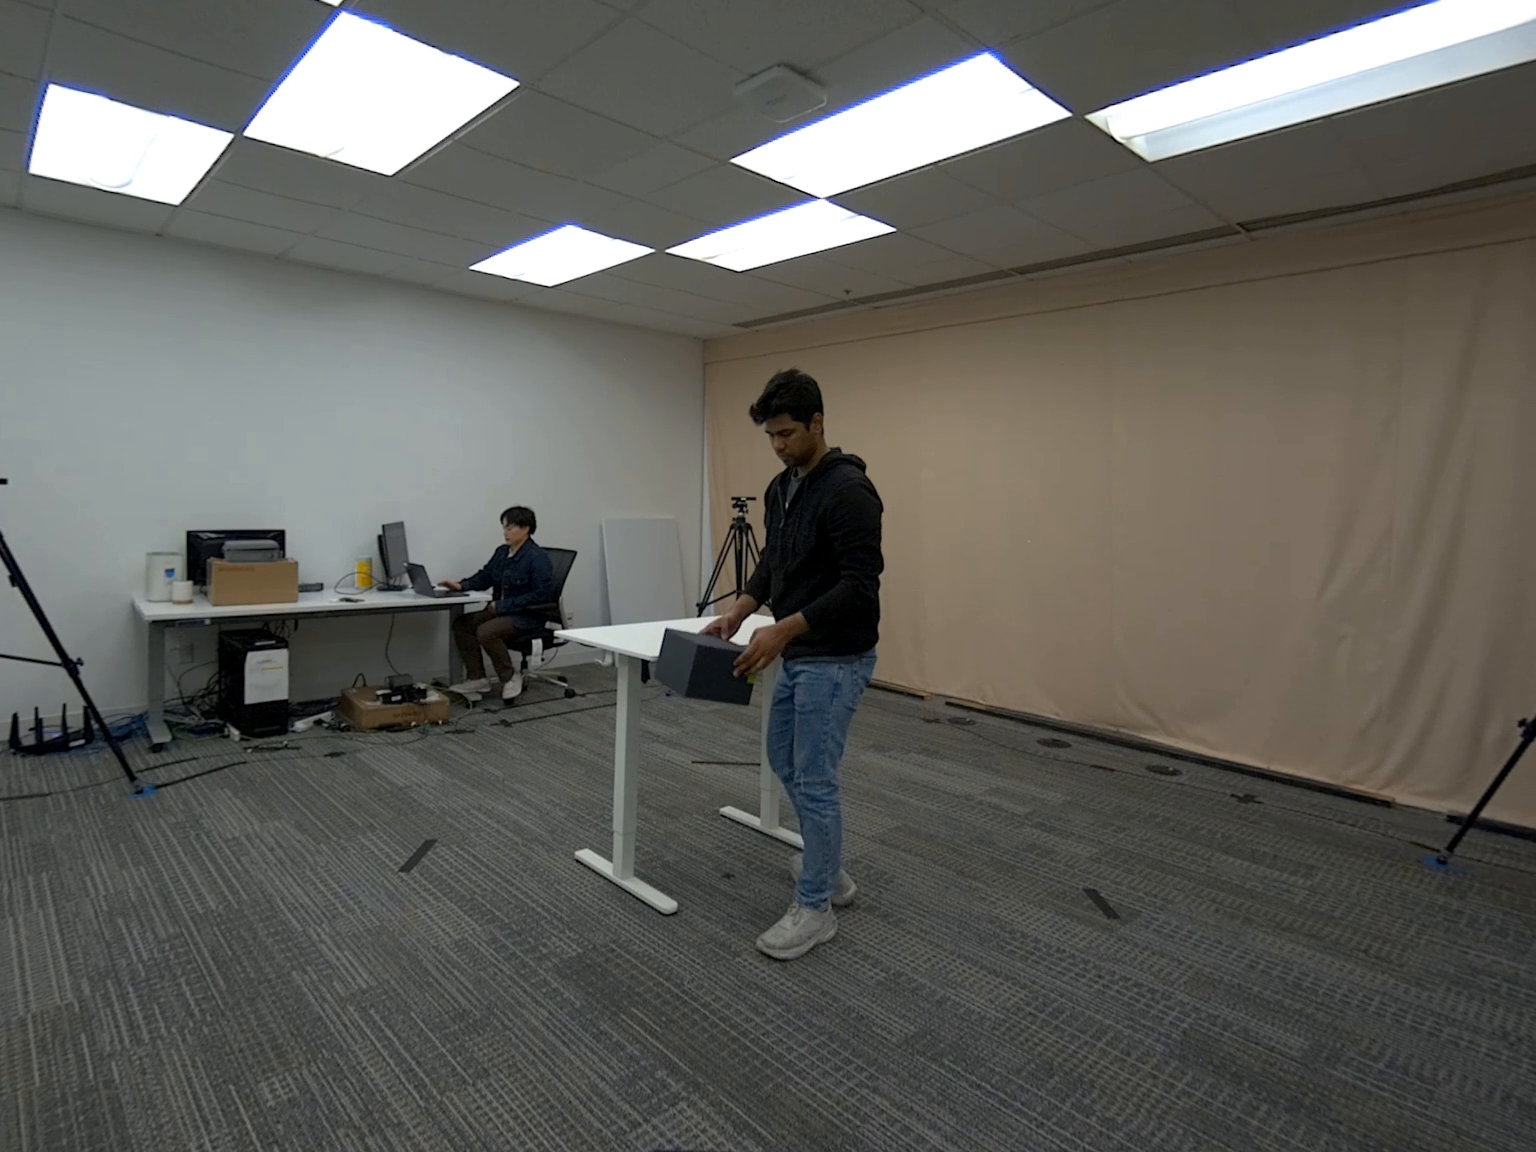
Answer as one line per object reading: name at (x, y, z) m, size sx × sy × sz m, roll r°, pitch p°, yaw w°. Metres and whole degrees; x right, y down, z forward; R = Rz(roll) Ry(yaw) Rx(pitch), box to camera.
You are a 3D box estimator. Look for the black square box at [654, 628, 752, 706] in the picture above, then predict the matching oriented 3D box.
black square box at (-0.186, 0.280, 2.501) m, size 0.212 × 0.156 × 0.233 m, roll 12°, pitch 3°, yaw -30°
